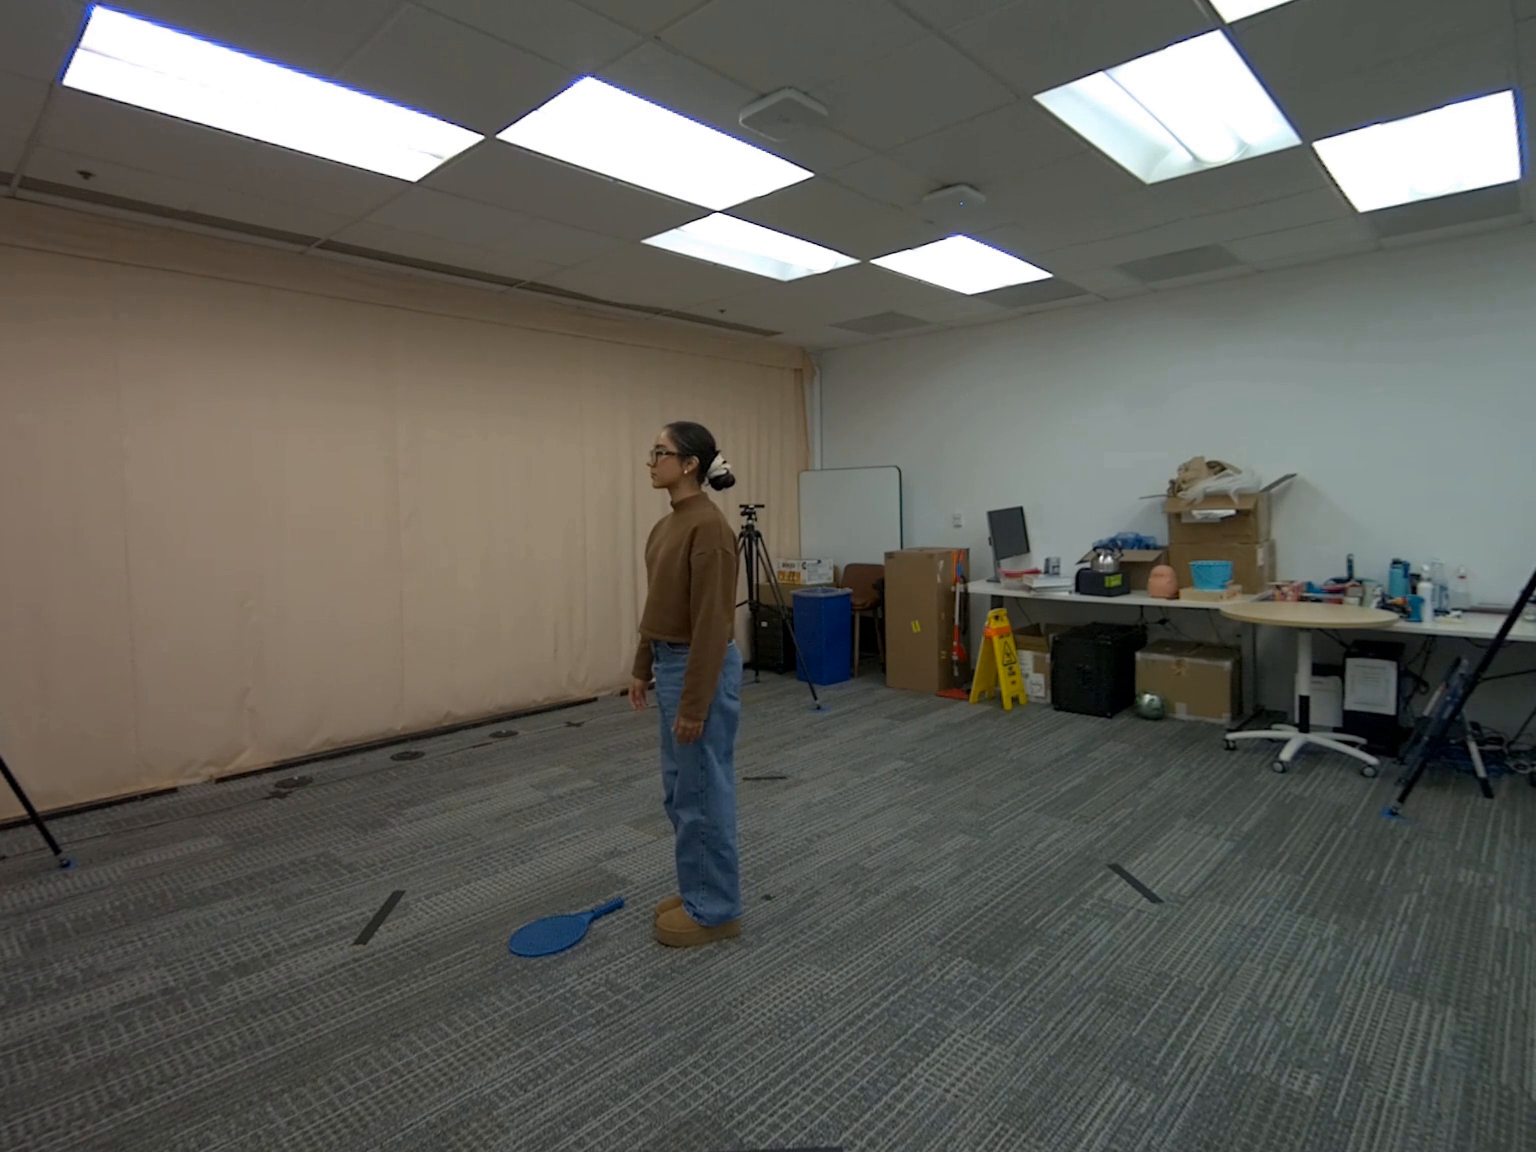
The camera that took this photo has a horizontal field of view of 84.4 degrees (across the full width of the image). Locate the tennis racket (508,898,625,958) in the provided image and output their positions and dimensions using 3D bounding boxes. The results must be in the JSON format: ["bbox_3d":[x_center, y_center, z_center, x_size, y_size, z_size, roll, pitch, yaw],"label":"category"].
[{"bbox_3d":[-0.655,1.161,2.796,0.420,0.031,0.221,-8,8,-44],"label":"tennis racket"}]
